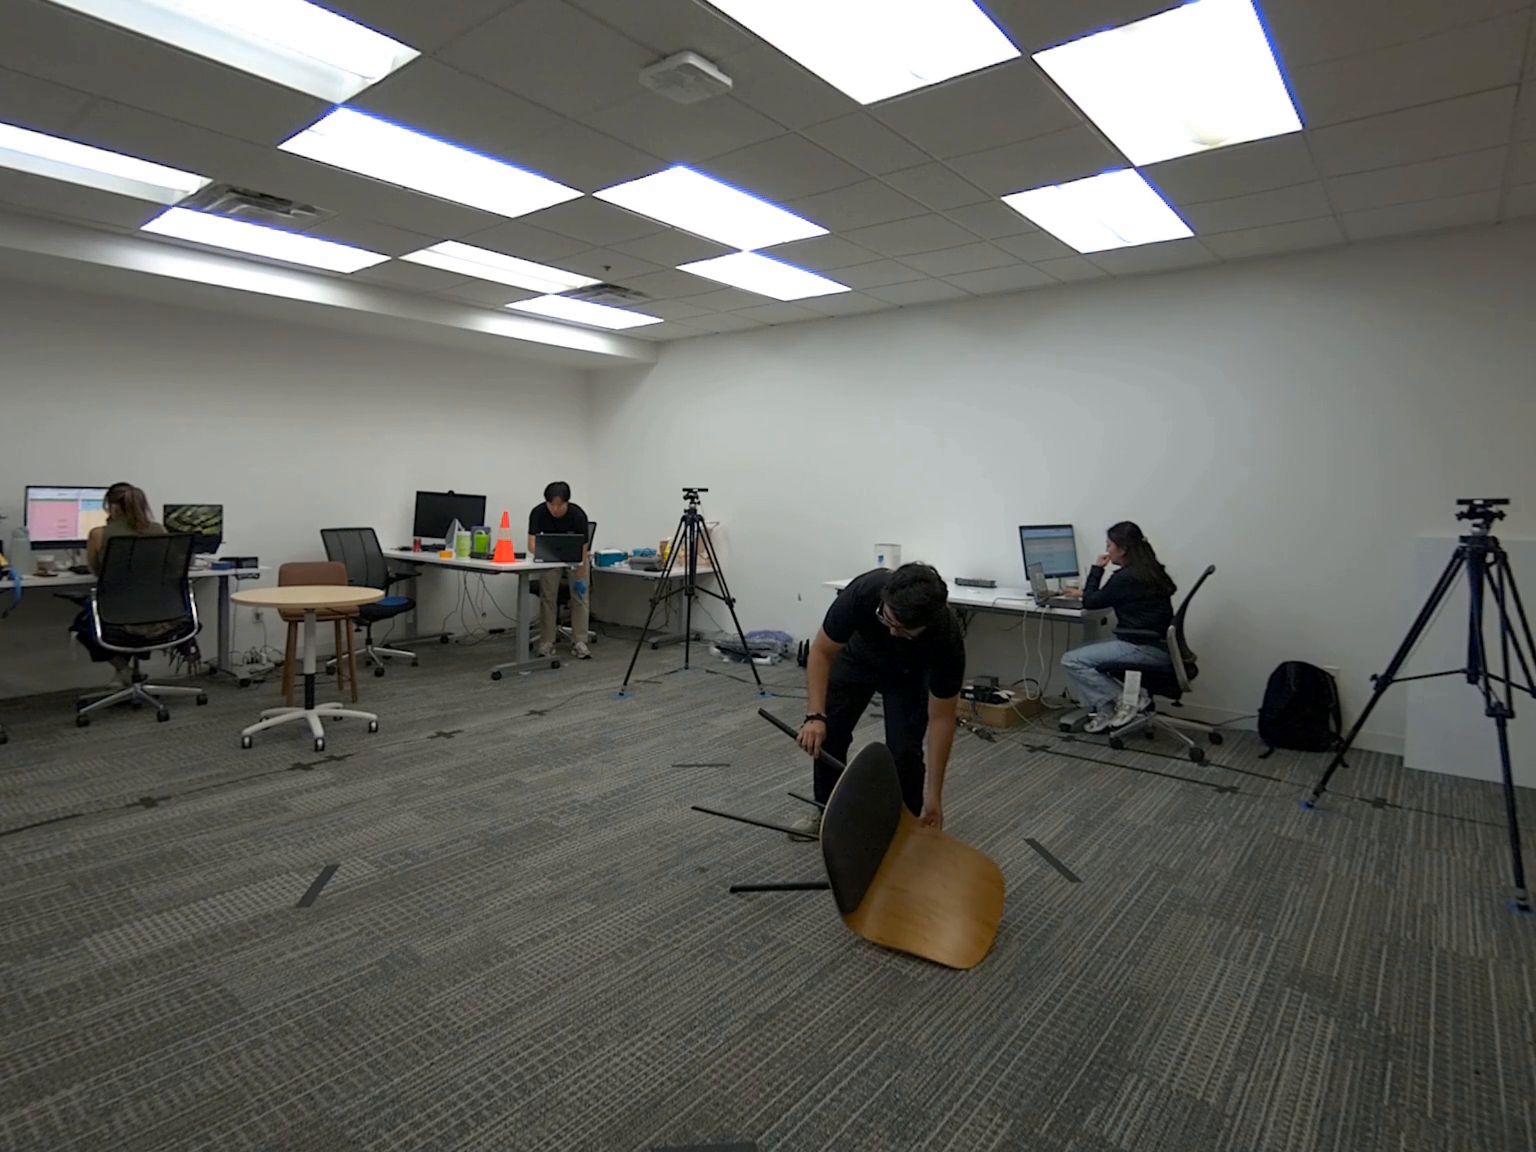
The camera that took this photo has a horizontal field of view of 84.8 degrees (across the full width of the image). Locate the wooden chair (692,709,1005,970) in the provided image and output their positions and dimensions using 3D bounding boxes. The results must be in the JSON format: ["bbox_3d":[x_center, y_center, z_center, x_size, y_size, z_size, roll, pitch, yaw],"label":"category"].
[{"bbox_3d":[0.271,0.824,2.708,0.907,0.506,0.478,11,42,32],"label":"wooden chair"}]
